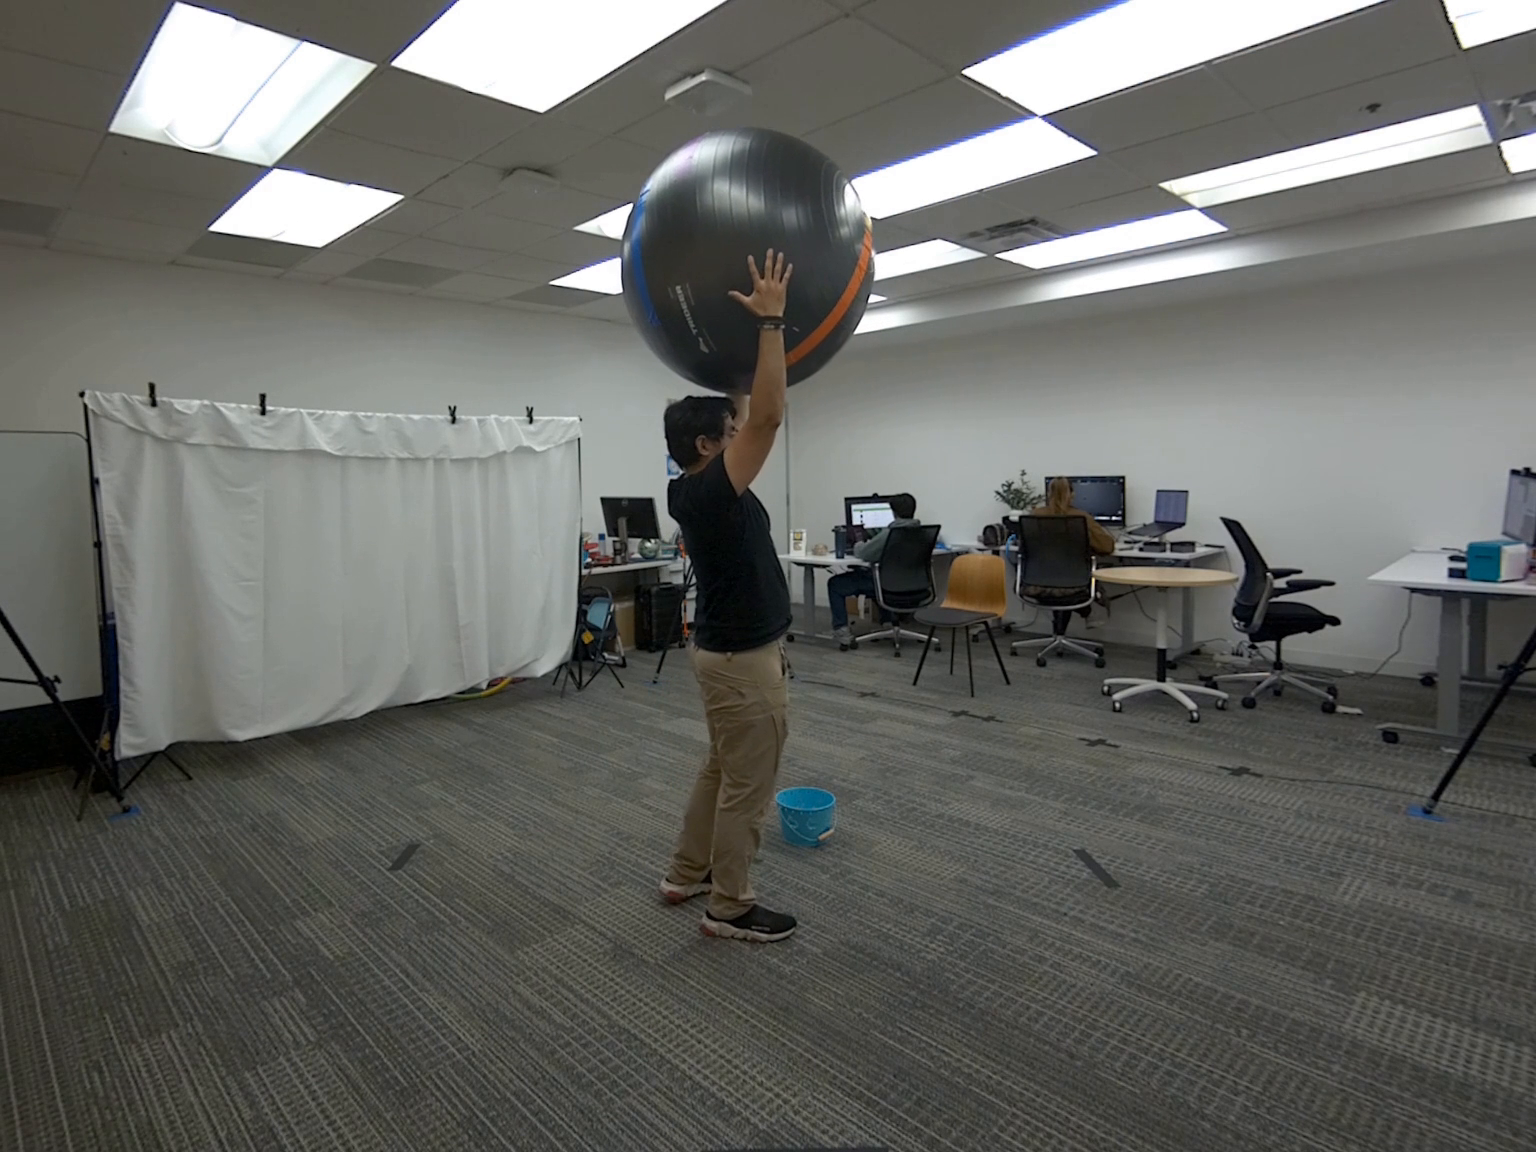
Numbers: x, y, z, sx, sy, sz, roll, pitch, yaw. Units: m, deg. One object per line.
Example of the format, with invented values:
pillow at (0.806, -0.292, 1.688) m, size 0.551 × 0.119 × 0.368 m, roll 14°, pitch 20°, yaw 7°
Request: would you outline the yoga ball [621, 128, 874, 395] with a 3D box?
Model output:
yoga ball at (-0.059, -0.923, 2.561) m, size 0.757 × 0.755 × 0.762 m, roll -1°, pitch 5°, yaw -2°
